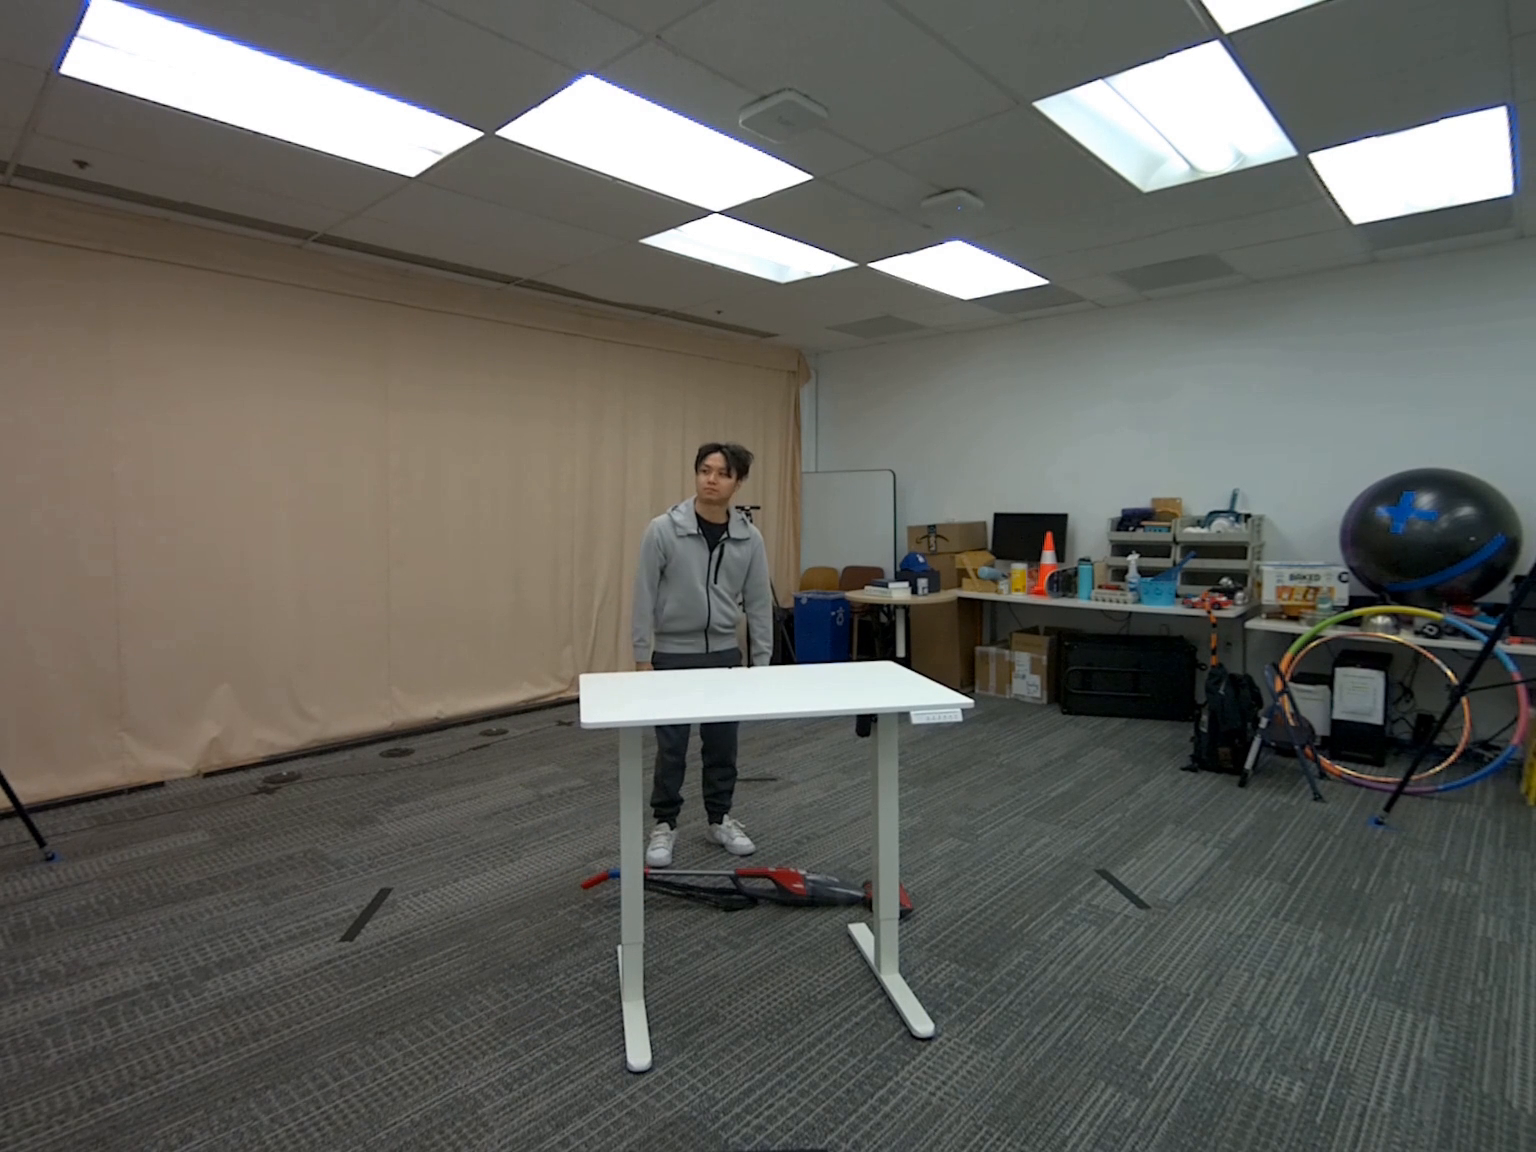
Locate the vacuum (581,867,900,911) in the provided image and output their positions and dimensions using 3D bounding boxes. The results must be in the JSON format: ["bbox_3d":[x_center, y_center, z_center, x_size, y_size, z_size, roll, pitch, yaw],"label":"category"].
[{"bbox_3d":[-0.123,1.085,2.951,1.050,0.144,0.252,2,2,1],"label":"vacuum"}]
